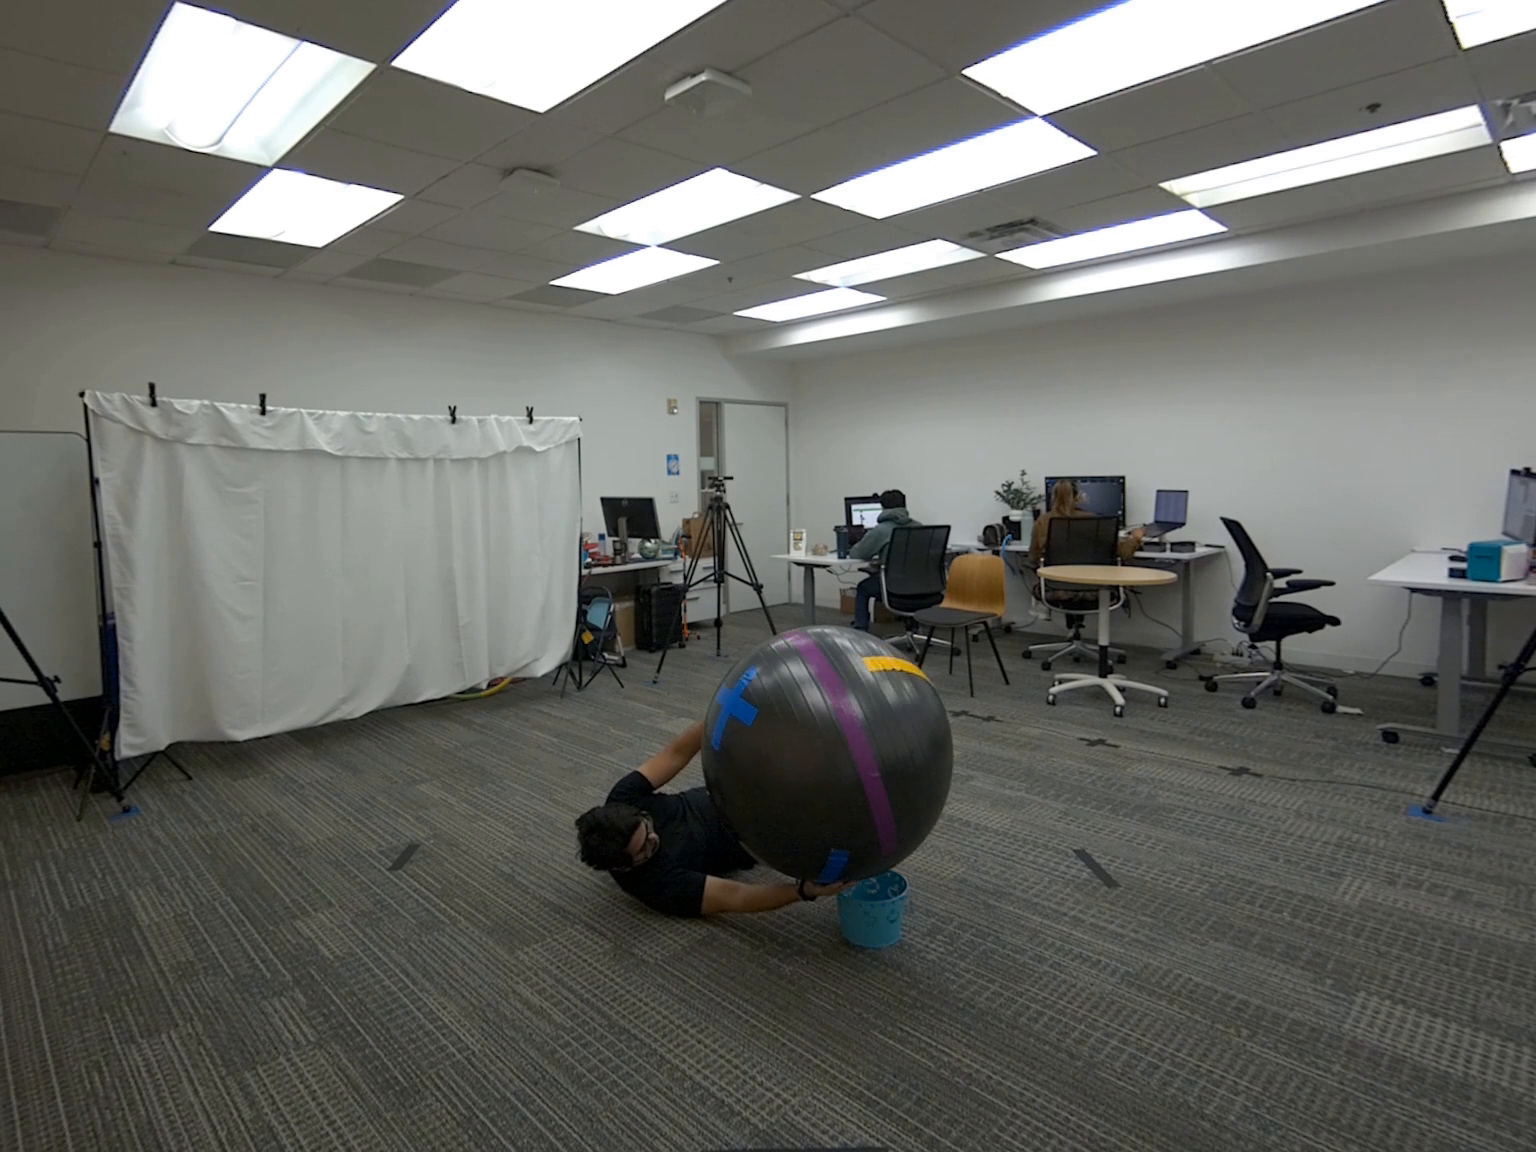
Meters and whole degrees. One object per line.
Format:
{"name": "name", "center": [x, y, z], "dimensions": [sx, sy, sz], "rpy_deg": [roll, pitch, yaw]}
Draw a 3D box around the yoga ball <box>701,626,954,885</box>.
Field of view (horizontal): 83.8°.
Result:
{"name": "yoga ball", "center": [0.178, 0.535, 2.602], "dimensions": [0.757, 0.755, 0.761], "rpy_deg": [-1, 4, -2]}
